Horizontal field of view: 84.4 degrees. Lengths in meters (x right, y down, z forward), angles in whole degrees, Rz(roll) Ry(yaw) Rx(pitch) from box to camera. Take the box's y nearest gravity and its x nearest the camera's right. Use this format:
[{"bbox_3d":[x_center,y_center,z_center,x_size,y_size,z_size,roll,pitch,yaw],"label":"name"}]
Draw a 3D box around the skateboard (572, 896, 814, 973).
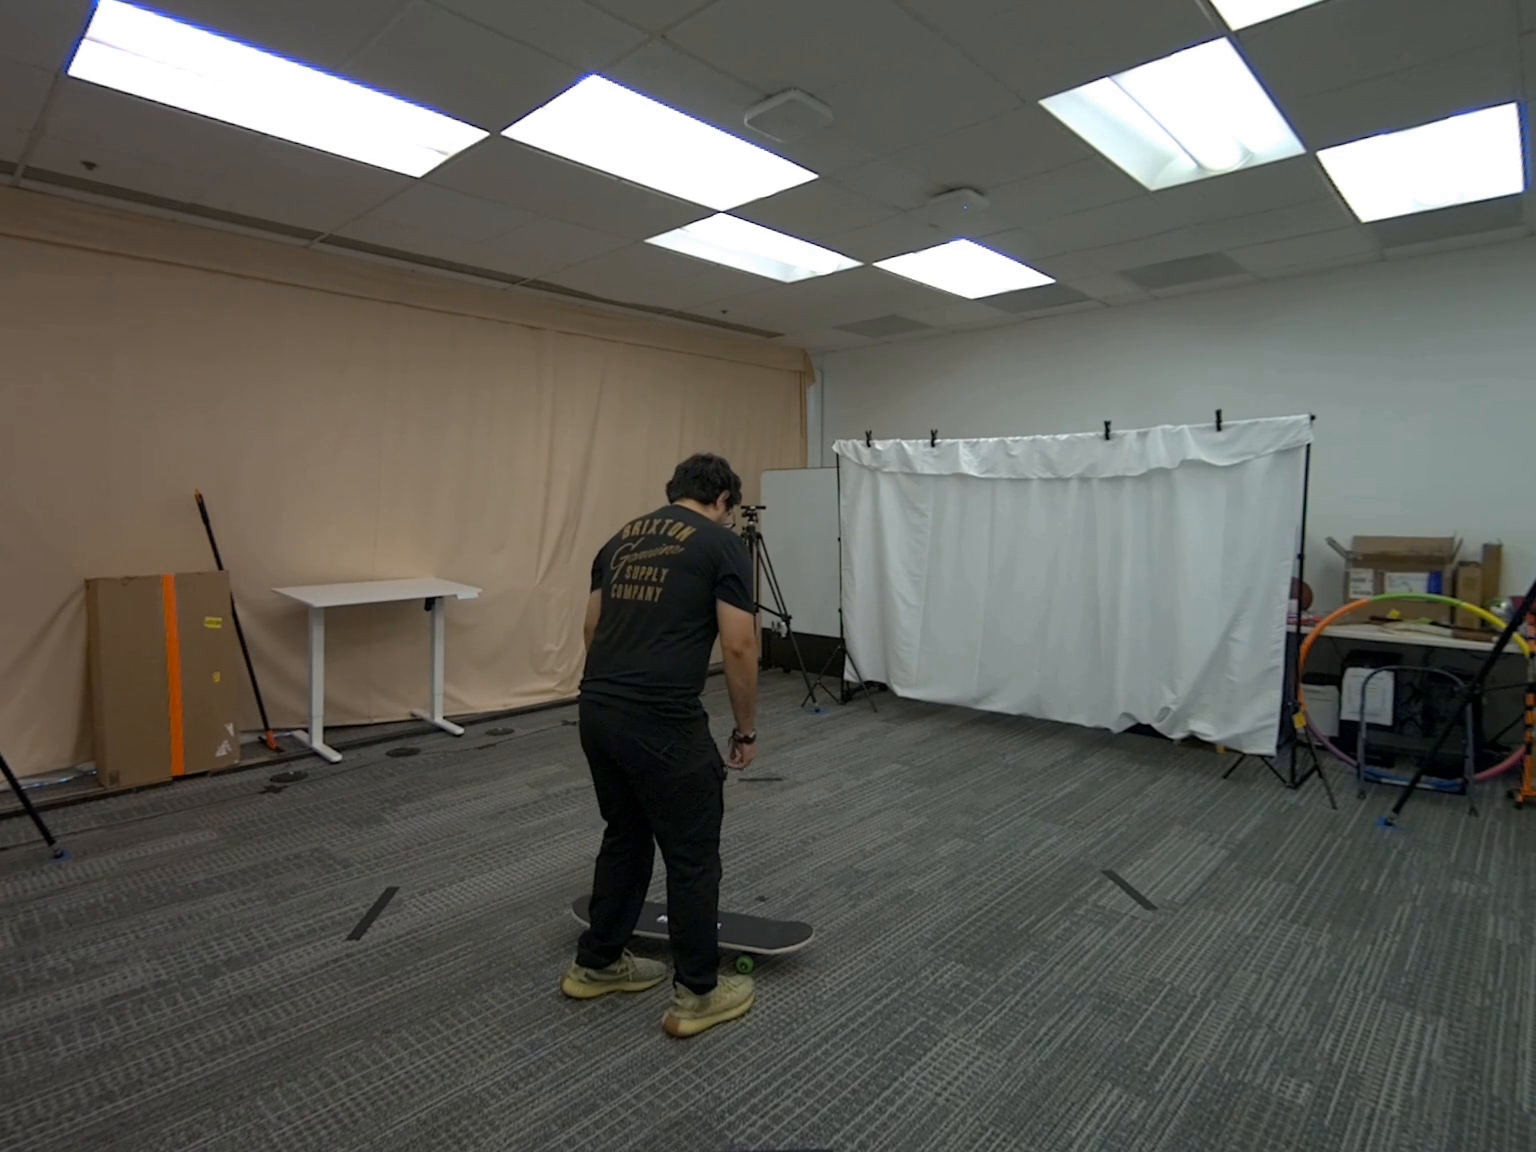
[{"bbox_3d":[-0.244,1.114,2.636,0.798,0.110,0.191,1,4,15],"label":"skateboard"}]
